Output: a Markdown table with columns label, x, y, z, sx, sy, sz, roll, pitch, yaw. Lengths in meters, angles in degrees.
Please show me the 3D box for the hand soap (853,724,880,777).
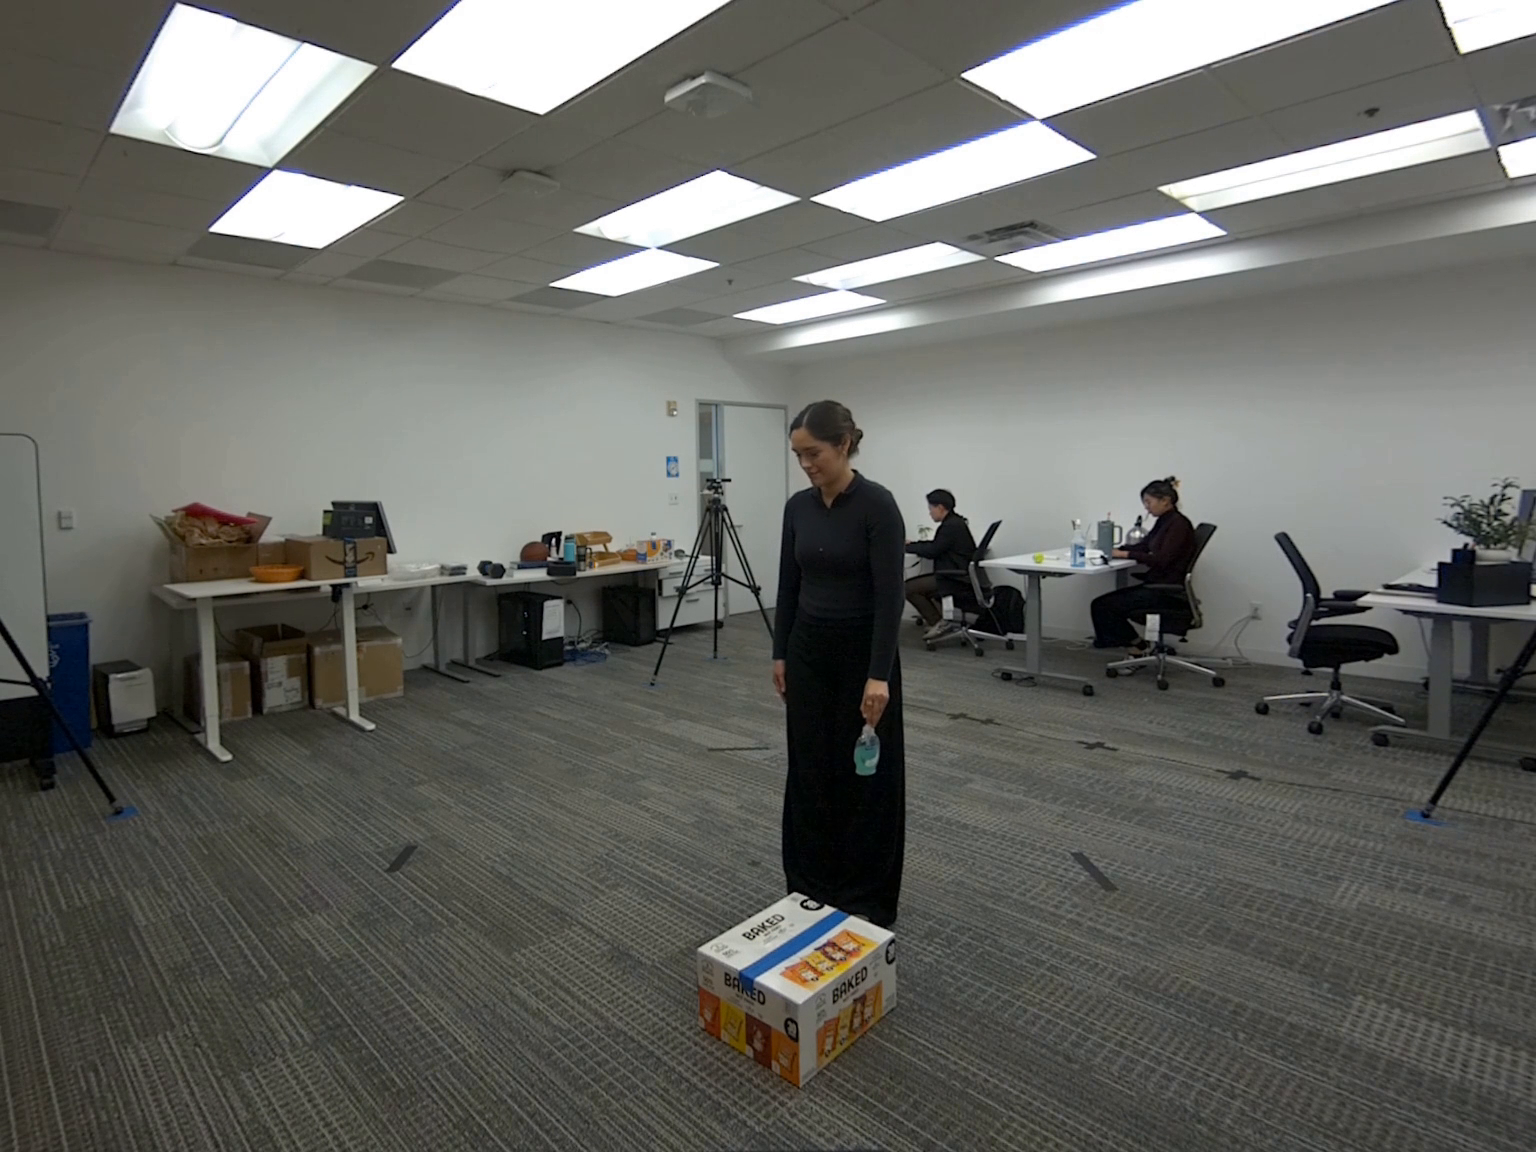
| label | x | y | z | sx | sy | sz | roll | pitch | yaw |
| --- | --- | --- | --- | --- | --- | --- | --- | --- | --- |
| hand soap | 0.277 | 0.472 | 2.384 | 0.082 | 0.167 | 0.045 | -4 | 6 | -35 |
